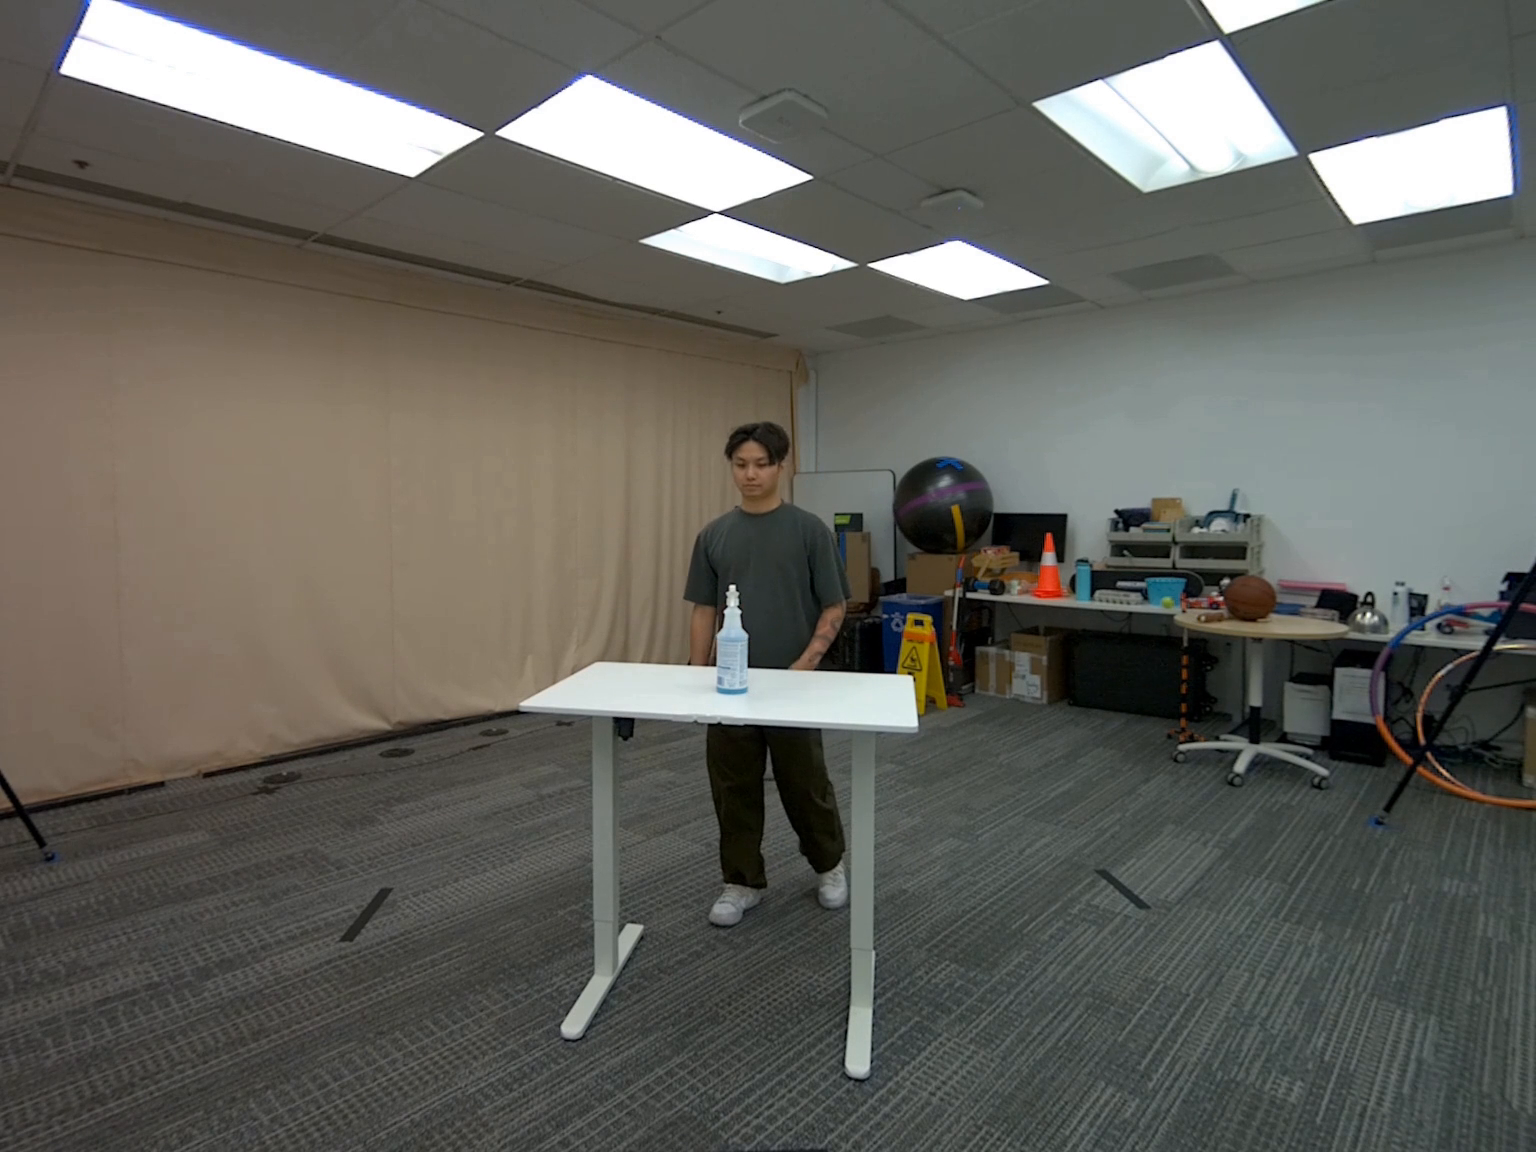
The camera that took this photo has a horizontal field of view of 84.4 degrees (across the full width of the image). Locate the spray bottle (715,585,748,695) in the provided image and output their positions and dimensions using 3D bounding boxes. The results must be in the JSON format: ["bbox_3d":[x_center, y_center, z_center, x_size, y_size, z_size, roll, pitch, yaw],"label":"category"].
[{"bbox_3d":[-0.094,0.172,2.316,0.089,0.297,0.088,2,4,25],"label":"spray bottle"}]
